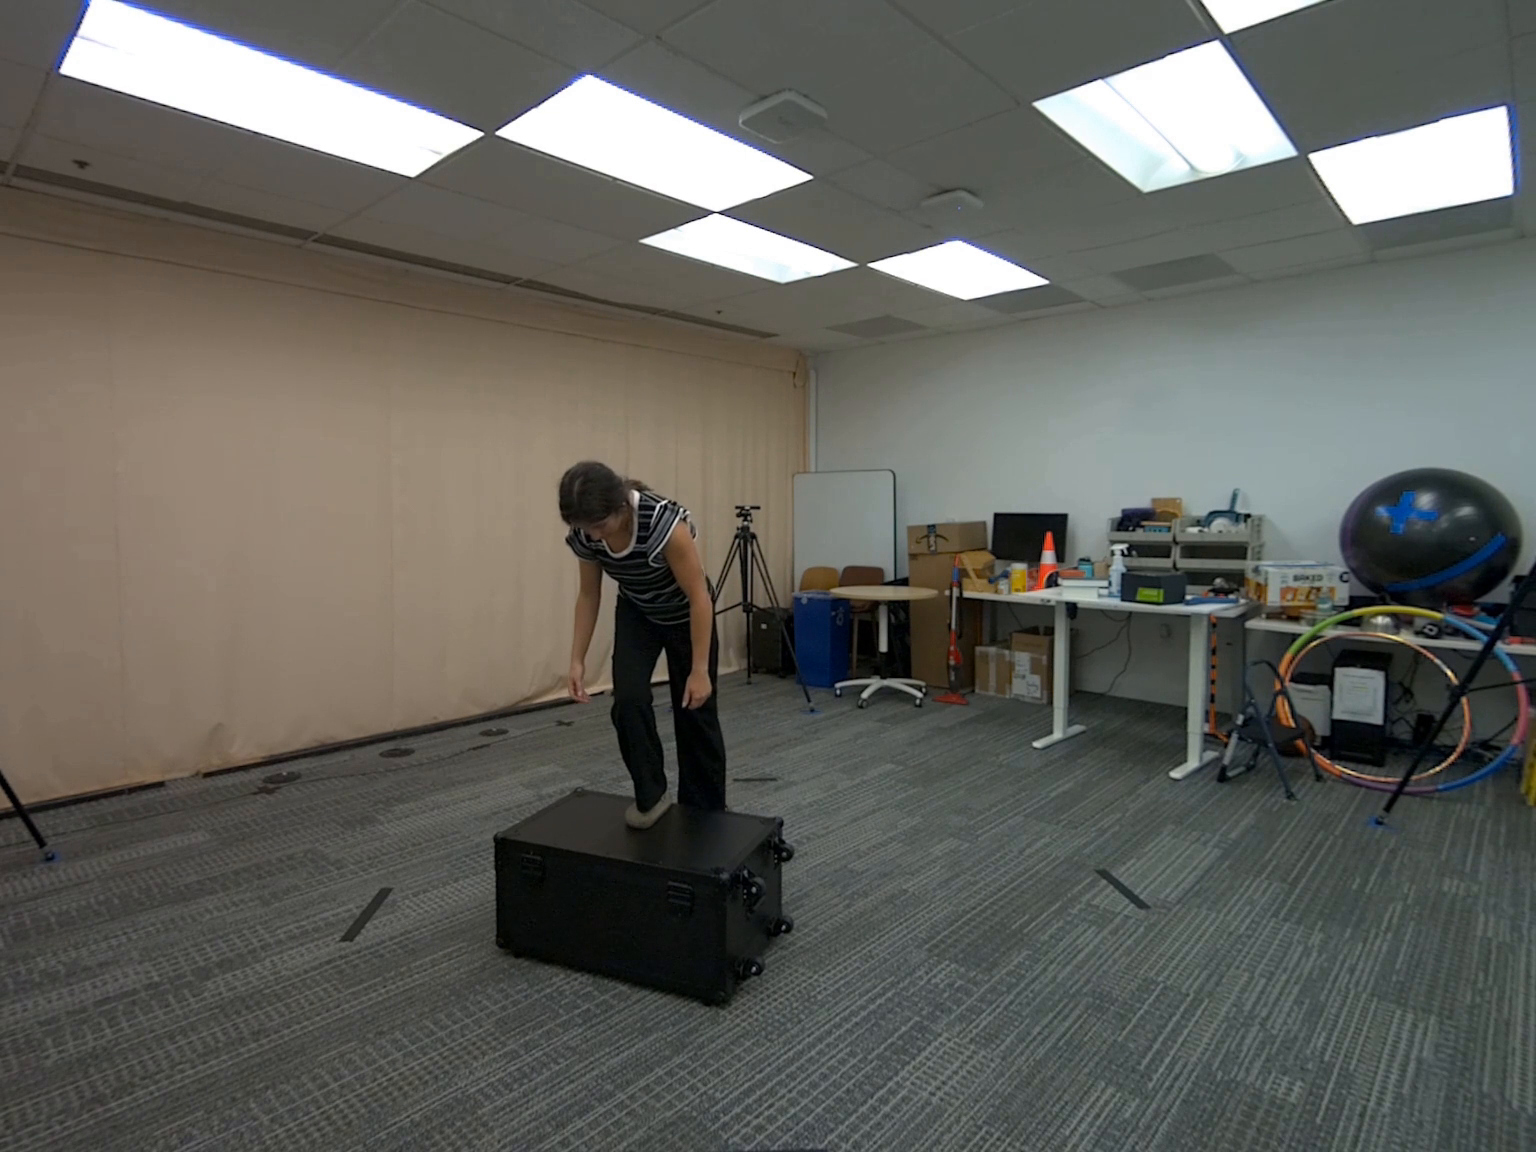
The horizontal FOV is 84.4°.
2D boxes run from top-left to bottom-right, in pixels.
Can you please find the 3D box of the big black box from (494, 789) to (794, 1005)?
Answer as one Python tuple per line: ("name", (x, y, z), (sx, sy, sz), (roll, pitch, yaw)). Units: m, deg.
("big black box", (-0.367, 0.984, 2.660), (0.881, 0.396, 0.510), (1, 3, 22))
